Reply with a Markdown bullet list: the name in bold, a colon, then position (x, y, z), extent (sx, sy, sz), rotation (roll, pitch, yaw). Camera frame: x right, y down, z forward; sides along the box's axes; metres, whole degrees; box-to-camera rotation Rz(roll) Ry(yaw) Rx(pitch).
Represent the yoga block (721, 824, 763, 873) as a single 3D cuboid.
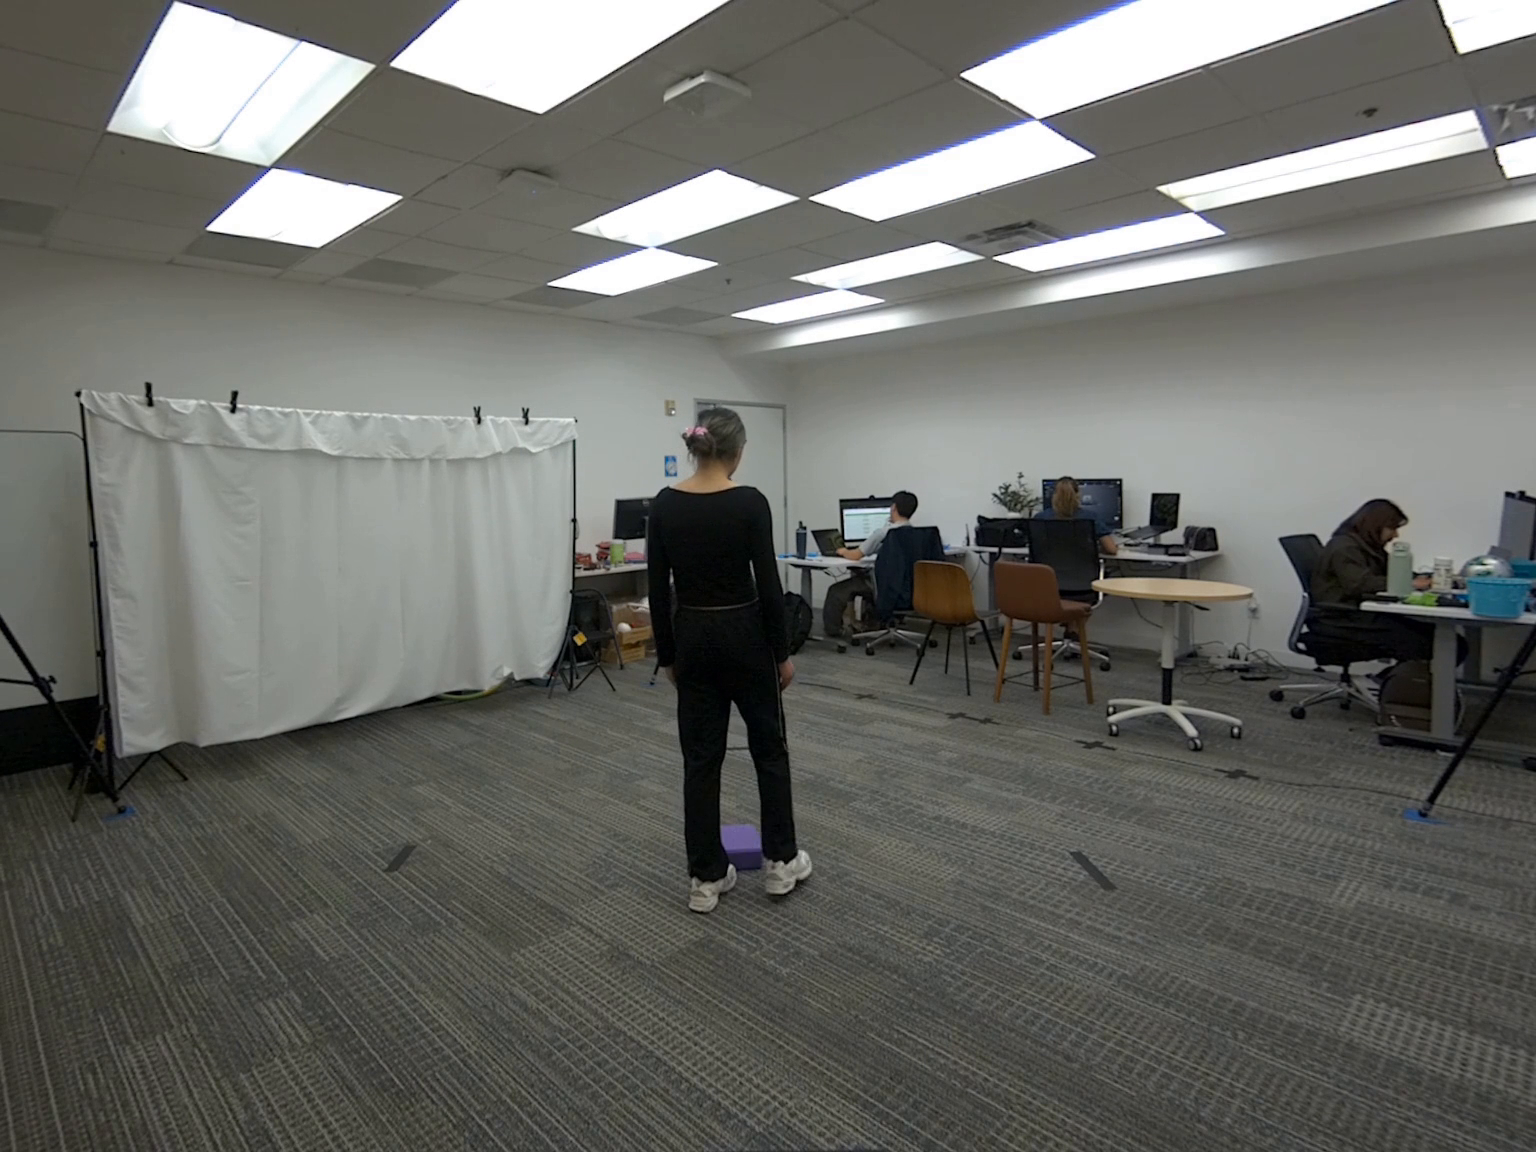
- **yoga block**: position (-0.099, 1.000, 3.153), extent (0.148, 0.076, 0.232), rotation (-1, 6, -8)
